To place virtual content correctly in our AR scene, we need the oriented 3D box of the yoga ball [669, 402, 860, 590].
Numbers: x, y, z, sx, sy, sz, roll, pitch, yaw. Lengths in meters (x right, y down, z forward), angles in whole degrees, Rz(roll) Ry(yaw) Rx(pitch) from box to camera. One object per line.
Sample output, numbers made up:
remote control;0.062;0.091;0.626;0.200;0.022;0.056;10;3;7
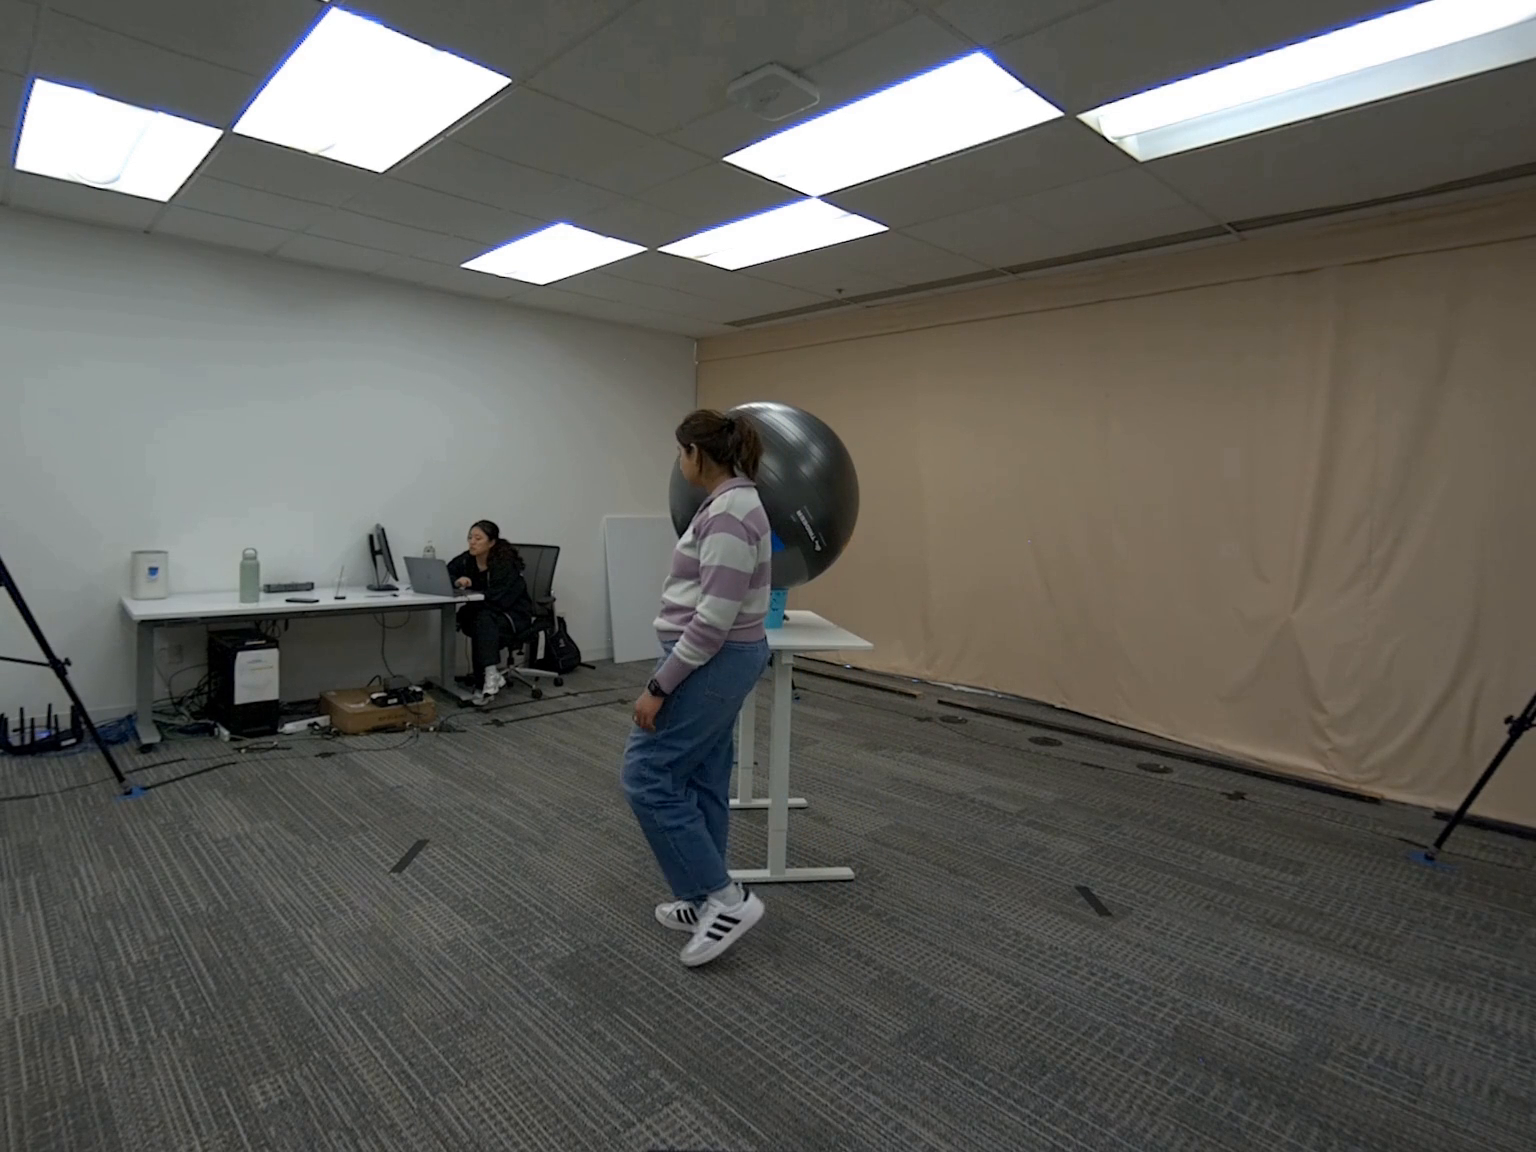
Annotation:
yoga ball;-0.018;-0.312;3.368;0.757;0.756;0.761;1;4;-1
